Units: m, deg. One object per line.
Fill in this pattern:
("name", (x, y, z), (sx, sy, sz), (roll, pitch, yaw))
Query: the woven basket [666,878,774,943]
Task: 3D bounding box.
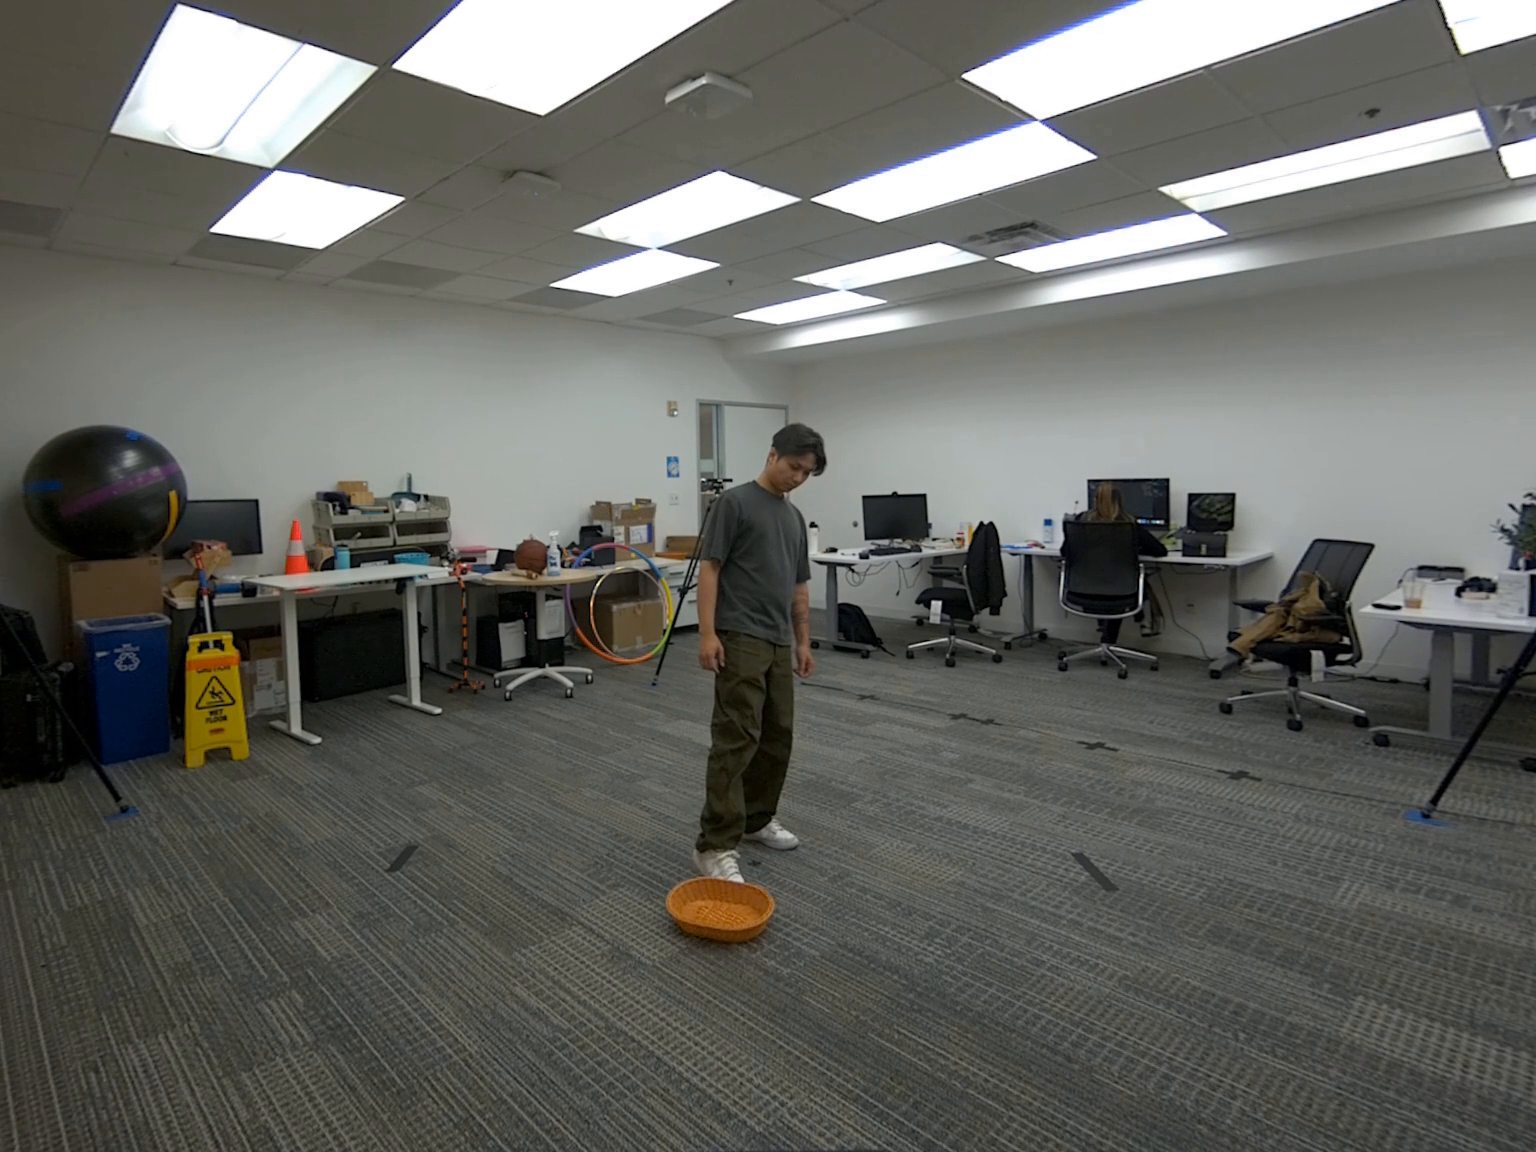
("woven basket", (-0.152, 1.054, 2.681), (0.359, 0.073, 0.249), (3, 13, 26))
